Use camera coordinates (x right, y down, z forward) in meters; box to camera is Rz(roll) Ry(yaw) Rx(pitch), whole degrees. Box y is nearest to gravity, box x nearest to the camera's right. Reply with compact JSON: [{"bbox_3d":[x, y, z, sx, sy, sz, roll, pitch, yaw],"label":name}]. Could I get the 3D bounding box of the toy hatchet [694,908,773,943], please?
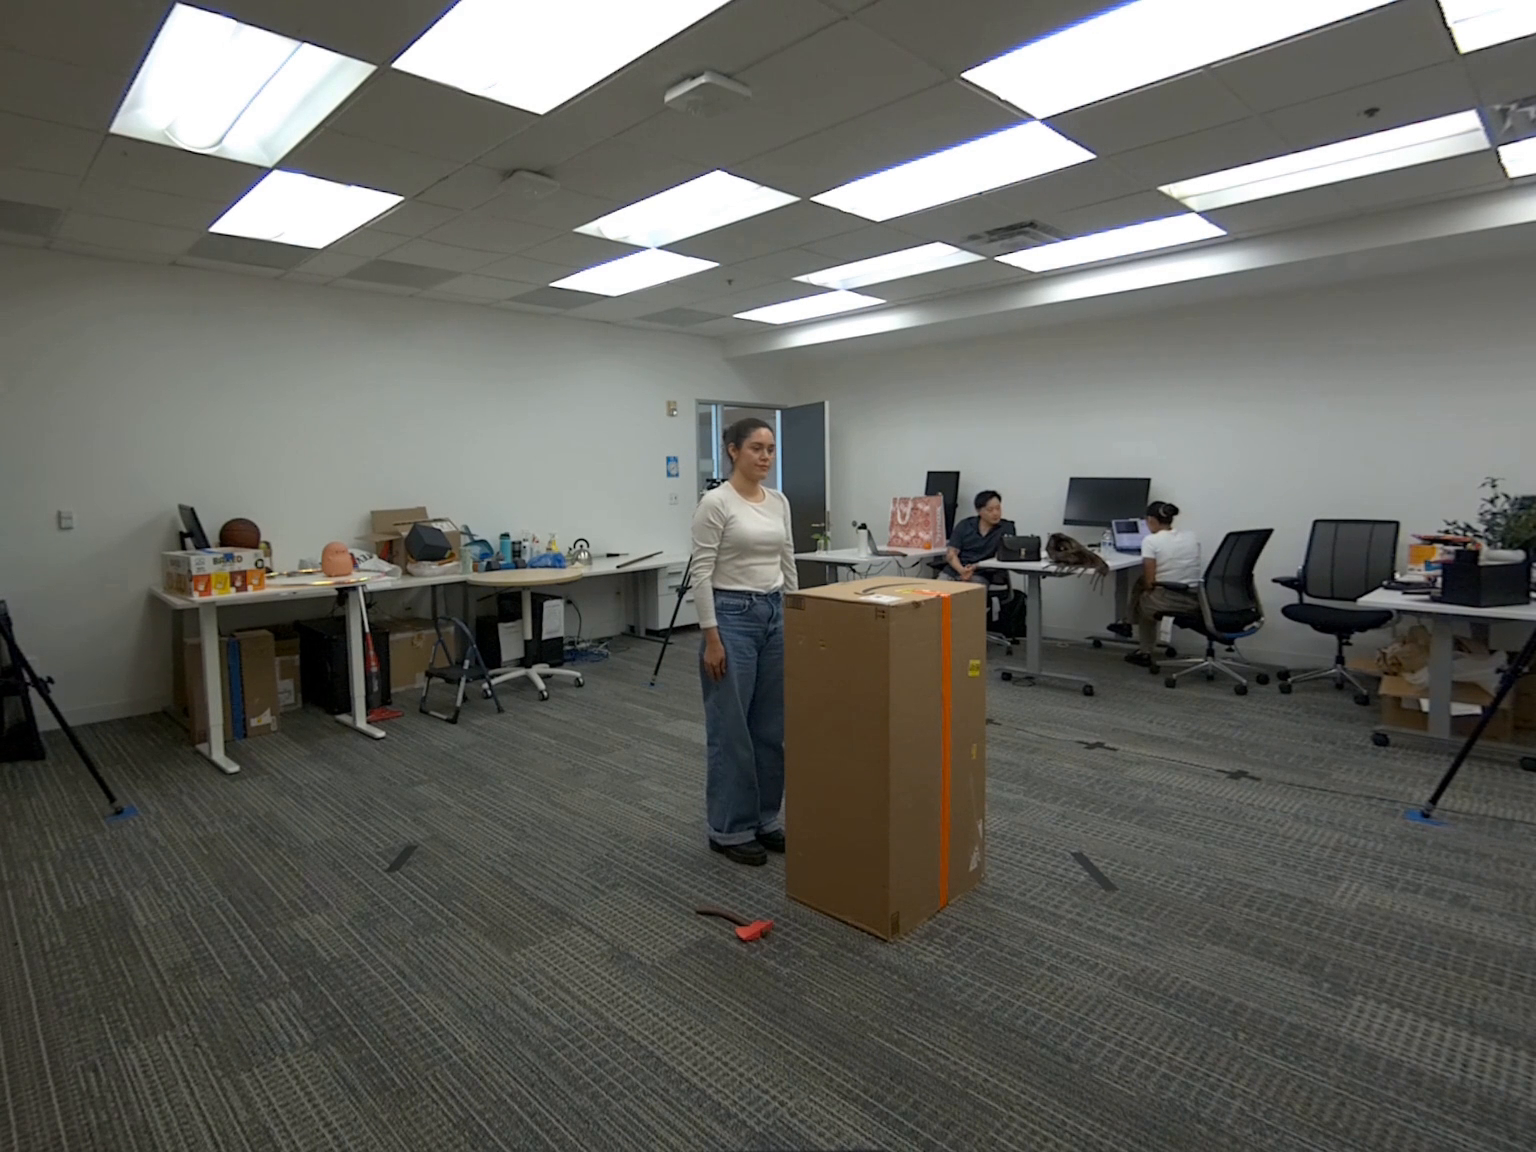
[{"bbox_3d":[-0.124,1.088,2.668,0.277,0.029,0.129,1,10,28],"label":"toy hatchet"}]
